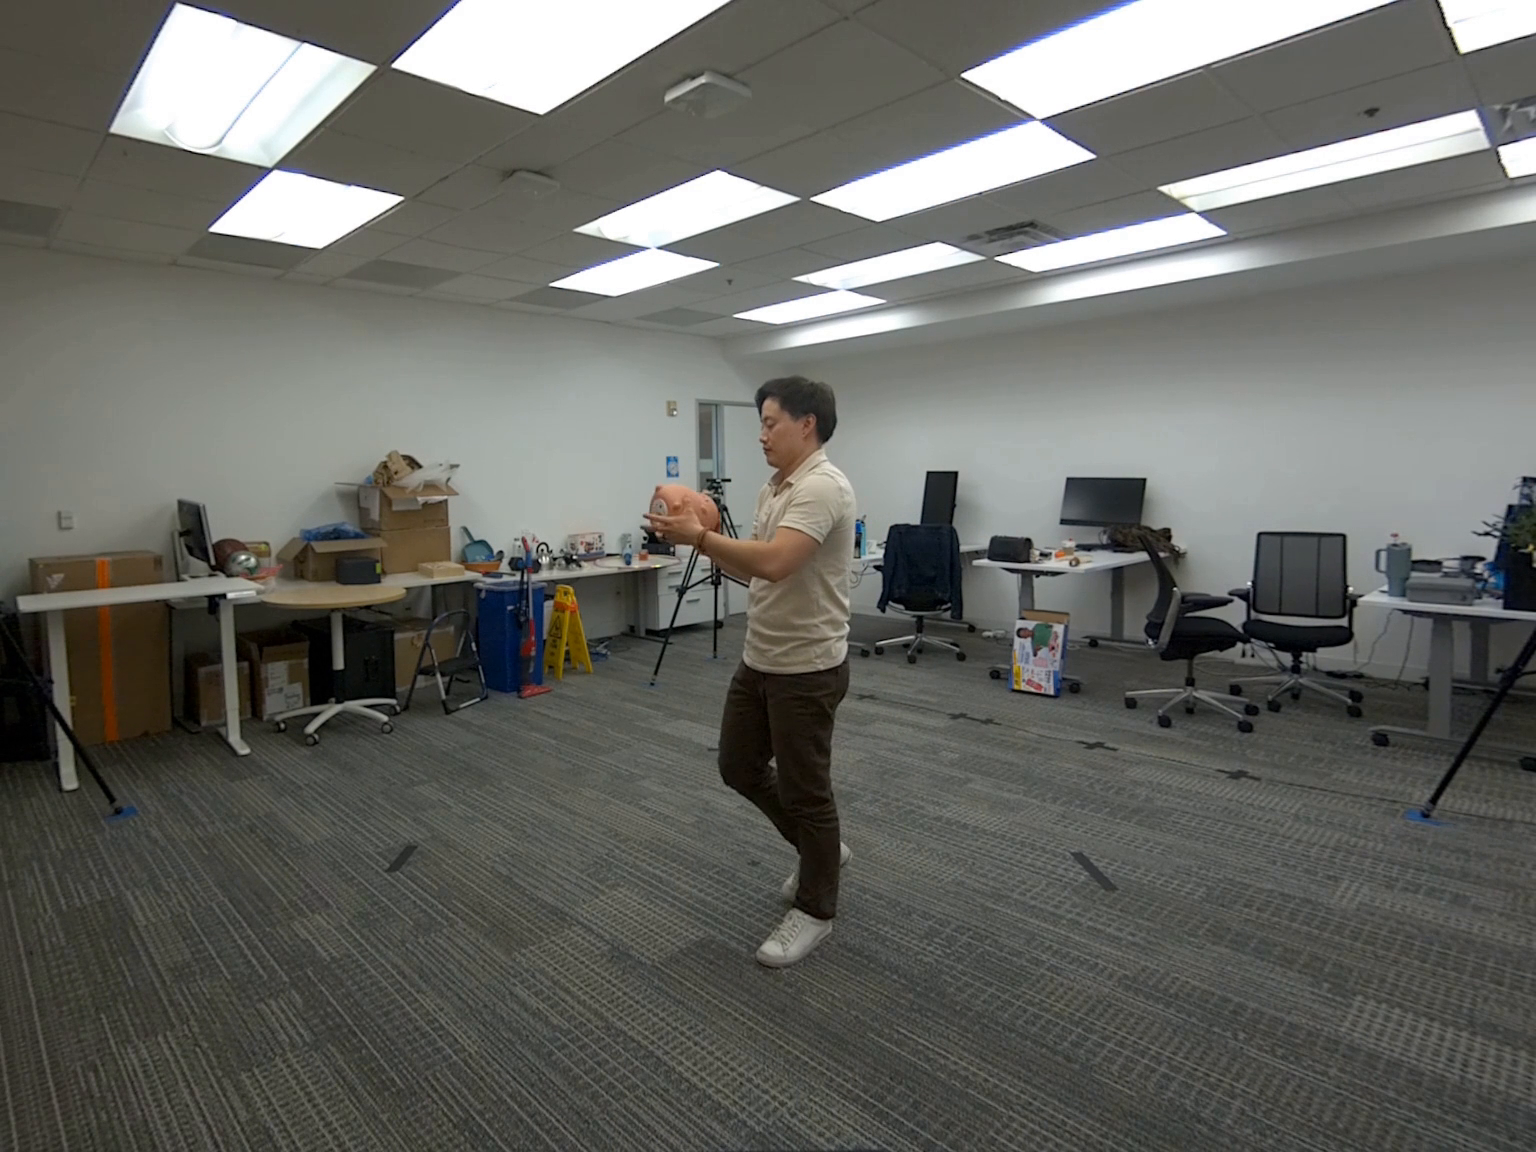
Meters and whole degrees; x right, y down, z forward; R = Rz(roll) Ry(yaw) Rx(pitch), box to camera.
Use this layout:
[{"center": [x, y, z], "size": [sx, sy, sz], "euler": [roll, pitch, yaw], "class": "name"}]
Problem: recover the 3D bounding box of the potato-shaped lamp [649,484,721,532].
[{"center": [-0.225, -0.178, 2.454], "size": [0.193, 0.169, 0.171], "euler": [-5, 33, -41], "class": "potato-shaped lamp"}]
